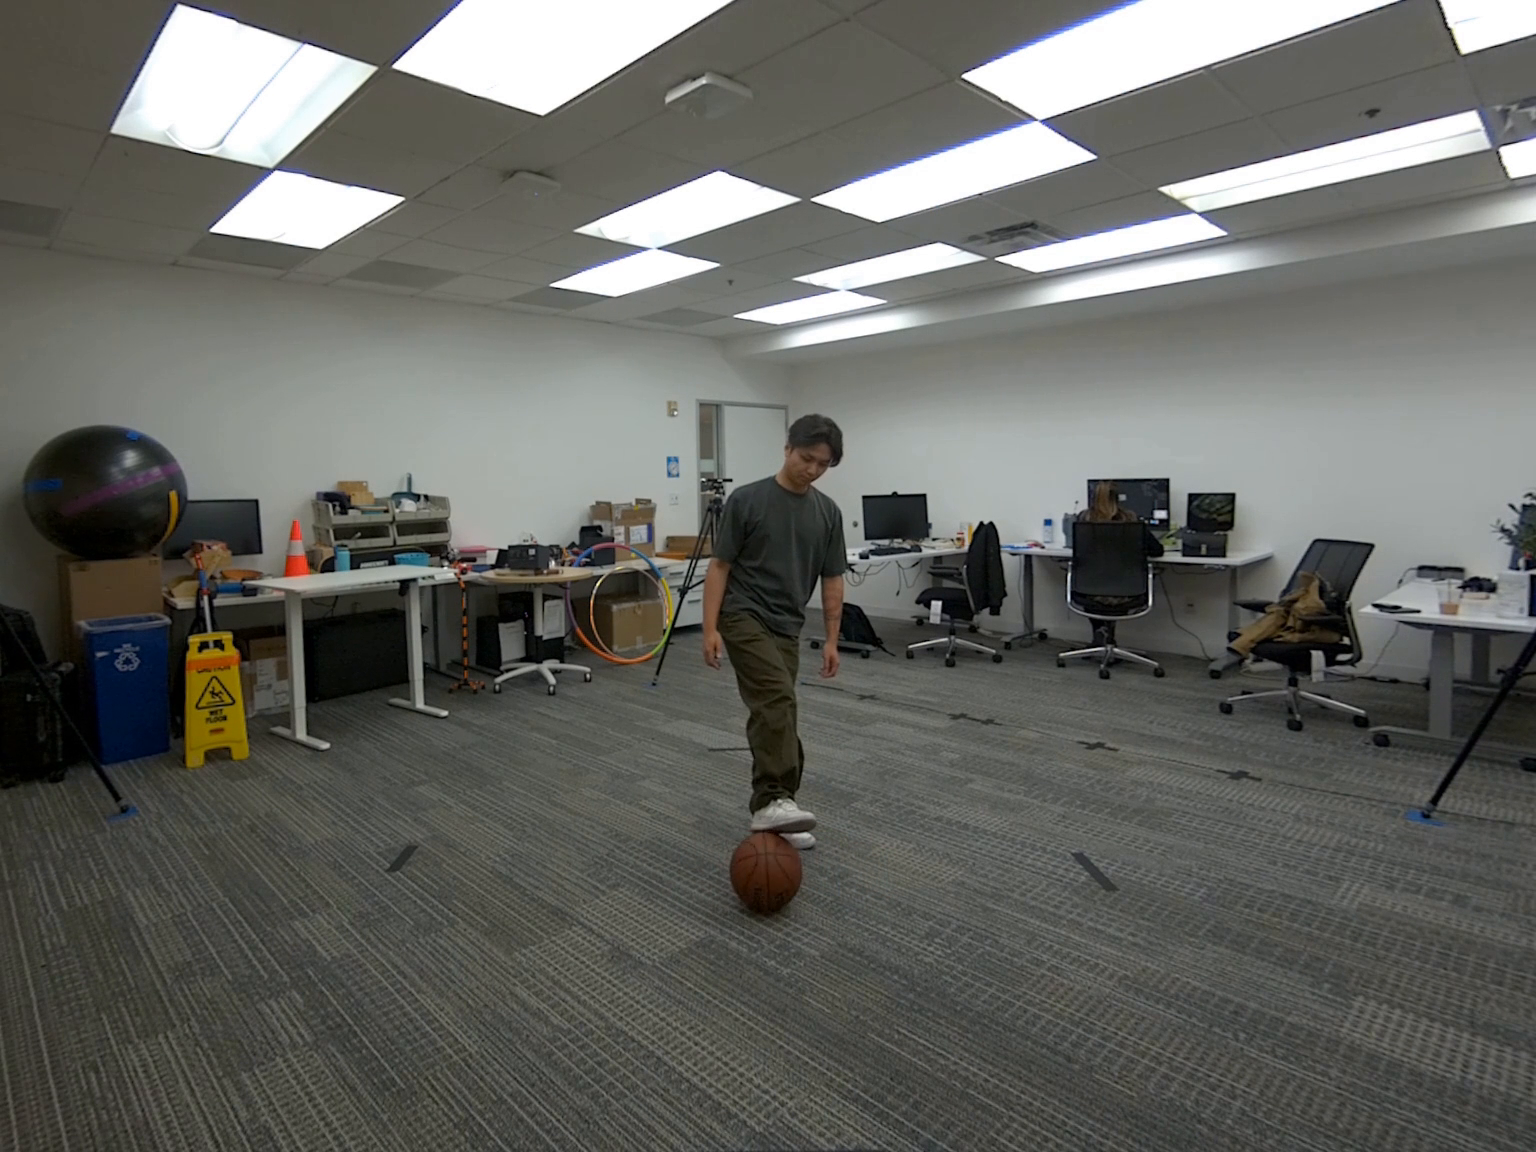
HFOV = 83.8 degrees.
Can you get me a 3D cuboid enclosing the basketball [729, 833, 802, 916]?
[{"bbox_3d":[-0.002,0.963,2.792,0.236,0.235,0.237,-1,5,-2],"label":"basketball"}]
